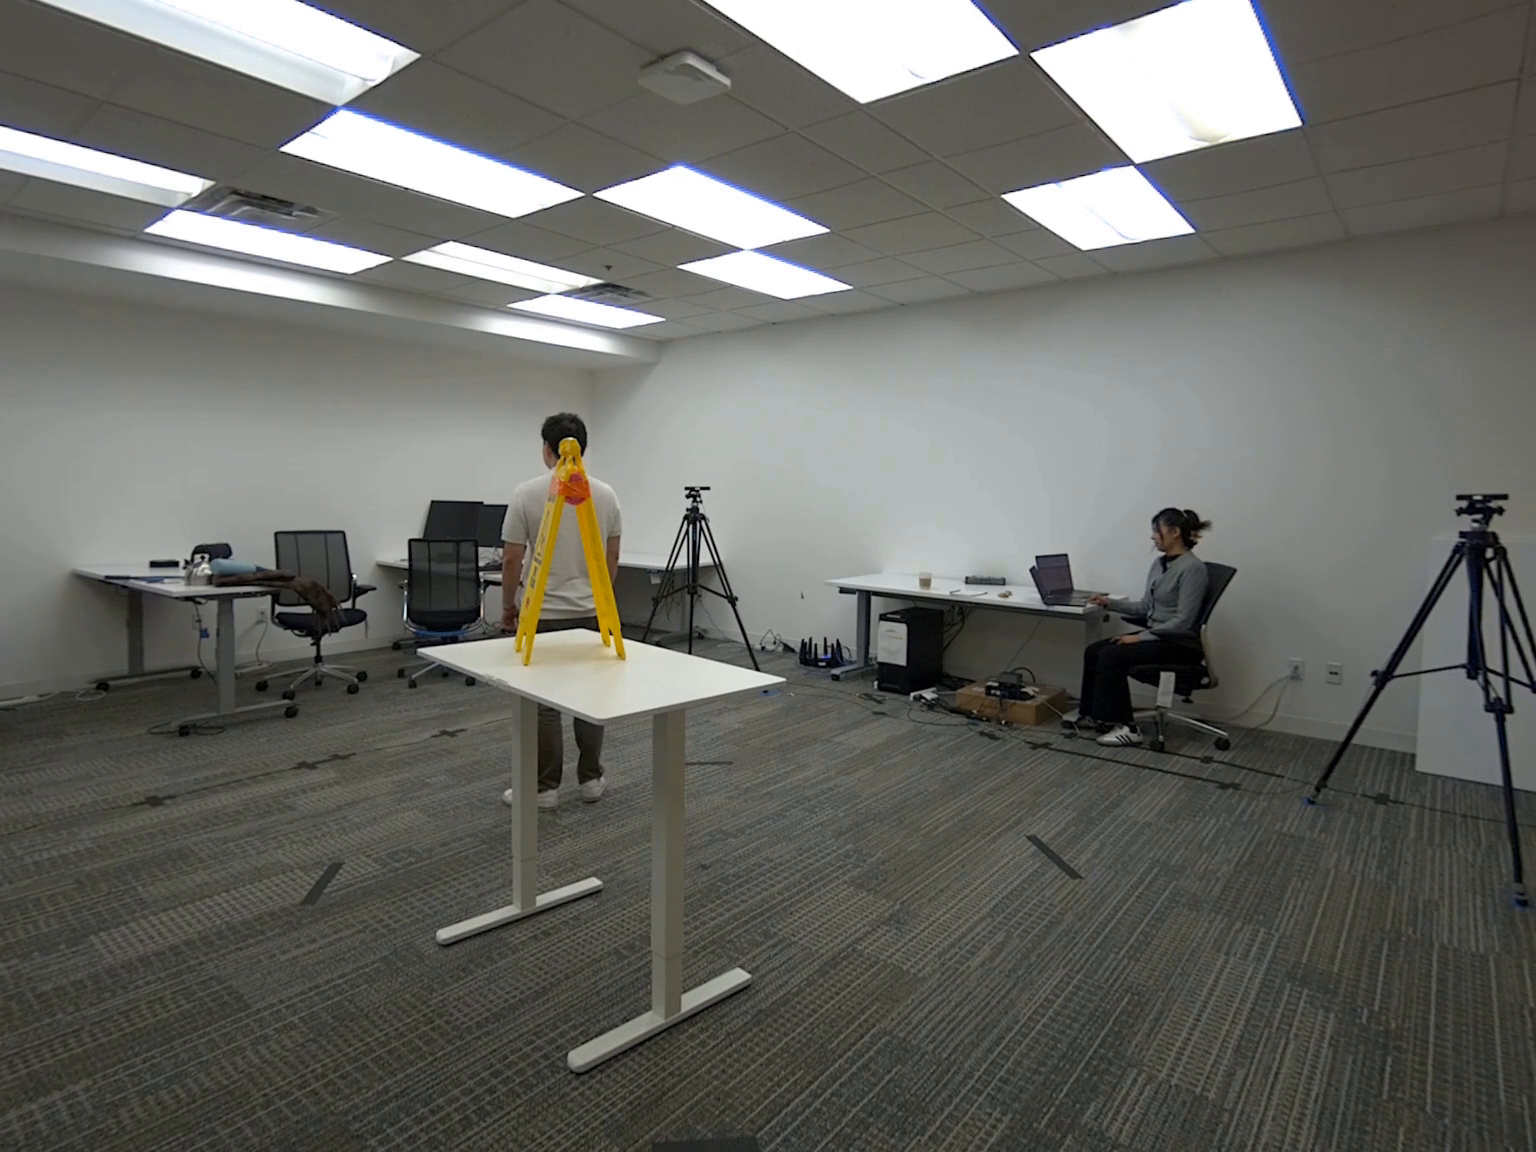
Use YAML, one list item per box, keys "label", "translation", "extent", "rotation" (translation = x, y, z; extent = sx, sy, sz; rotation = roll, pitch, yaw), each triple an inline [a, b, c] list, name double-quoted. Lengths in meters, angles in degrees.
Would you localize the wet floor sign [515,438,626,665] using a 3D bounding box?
- label: "wet floor sign"
  translation: [-0.605, -0.087, 2.549]
  extent: [0.284, 0.643, 0.289]
  rotation: [0, 5, -21]
